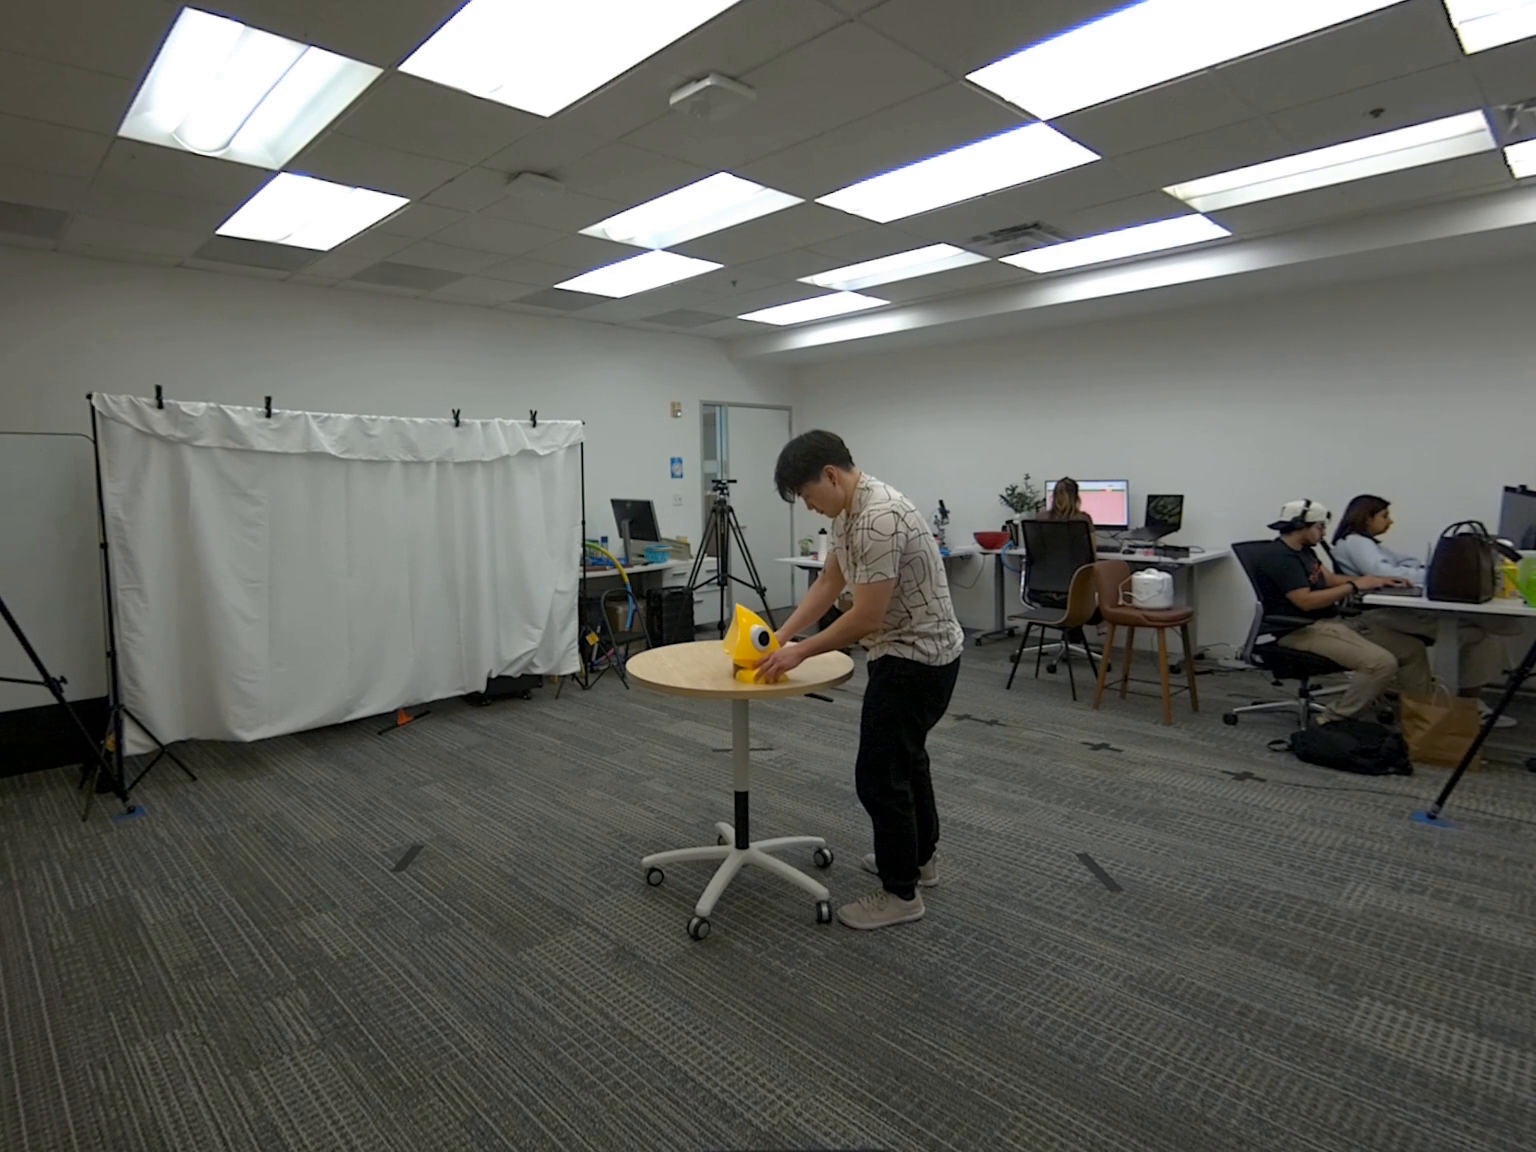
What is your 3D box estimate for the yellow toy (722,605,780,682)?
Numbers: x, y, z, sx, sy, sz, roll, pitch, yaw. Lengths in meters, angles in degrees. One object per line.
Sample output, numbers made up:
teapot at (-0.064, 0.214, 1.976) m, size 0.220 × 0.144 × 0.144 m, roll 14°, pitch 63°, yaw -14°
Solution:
yellow toy at (-0.027, 0.200, 2.680) m, size 0.191 × 0.230 × 0.208 m, roll -1°, pitch 5°, yaw -13°
